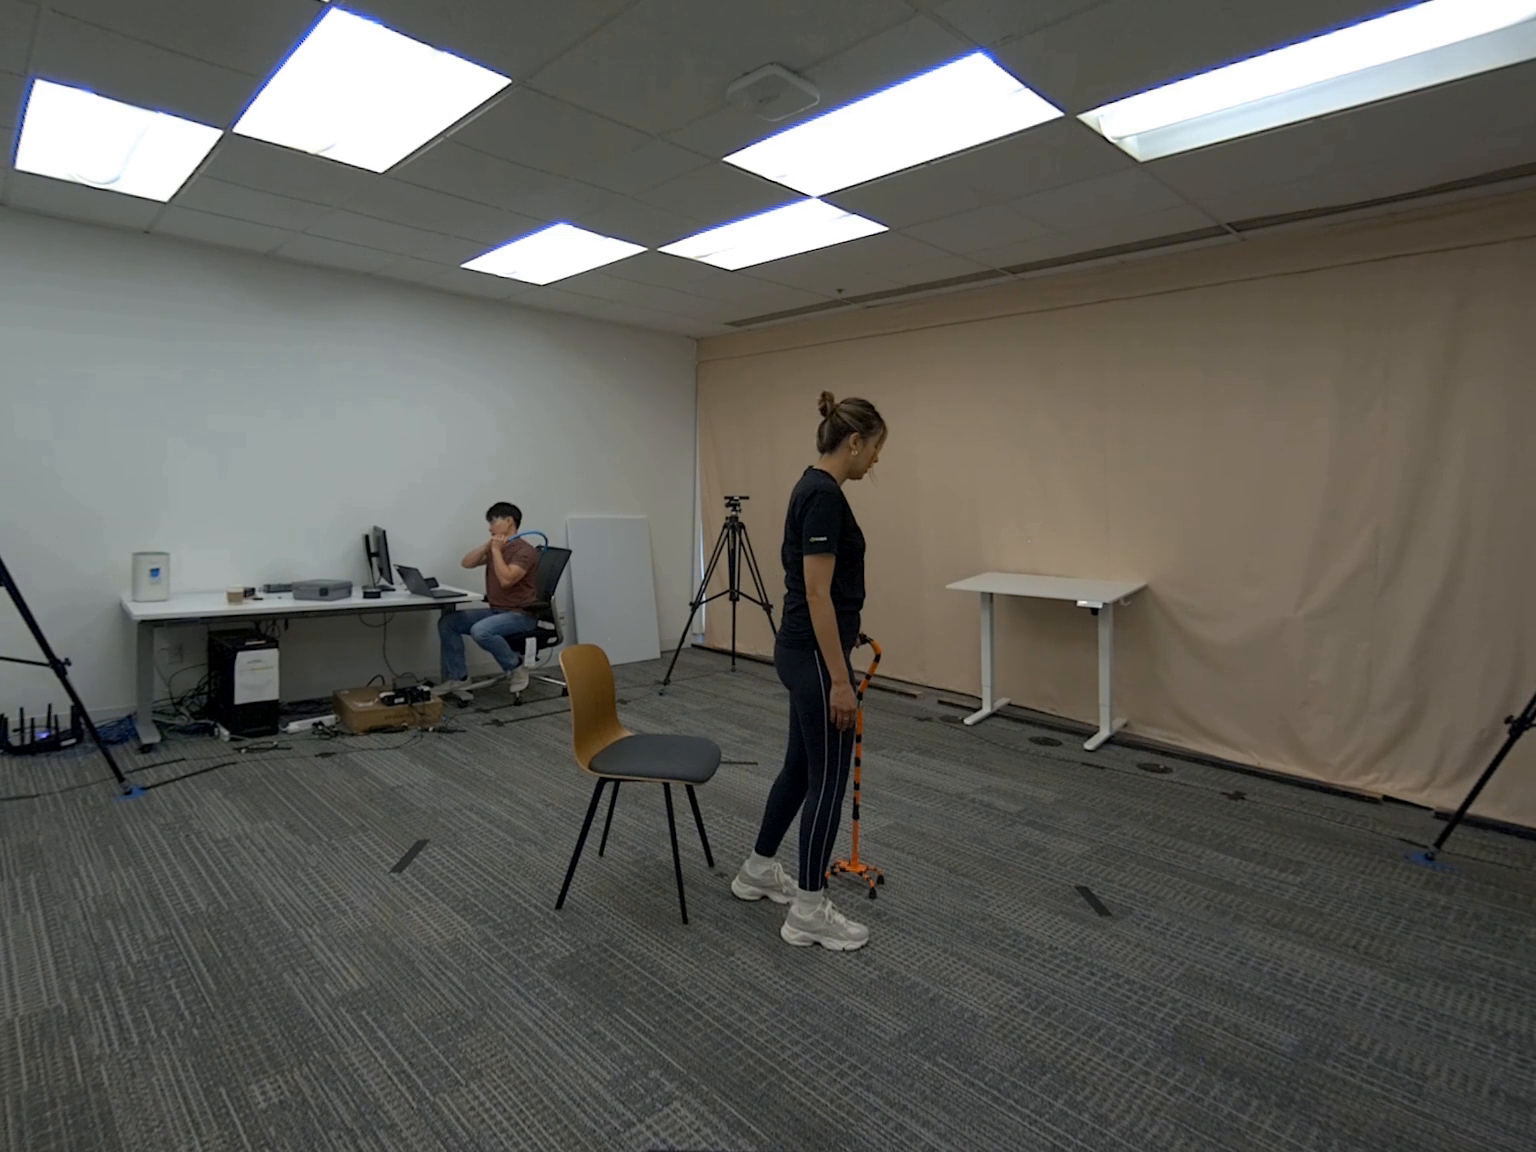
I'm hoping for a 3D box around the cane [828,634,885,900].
[{"bbox_3d":[0.316,0.664,3.020,0.210,0.906,0.149,3,3,22],"label":"cane"}]
